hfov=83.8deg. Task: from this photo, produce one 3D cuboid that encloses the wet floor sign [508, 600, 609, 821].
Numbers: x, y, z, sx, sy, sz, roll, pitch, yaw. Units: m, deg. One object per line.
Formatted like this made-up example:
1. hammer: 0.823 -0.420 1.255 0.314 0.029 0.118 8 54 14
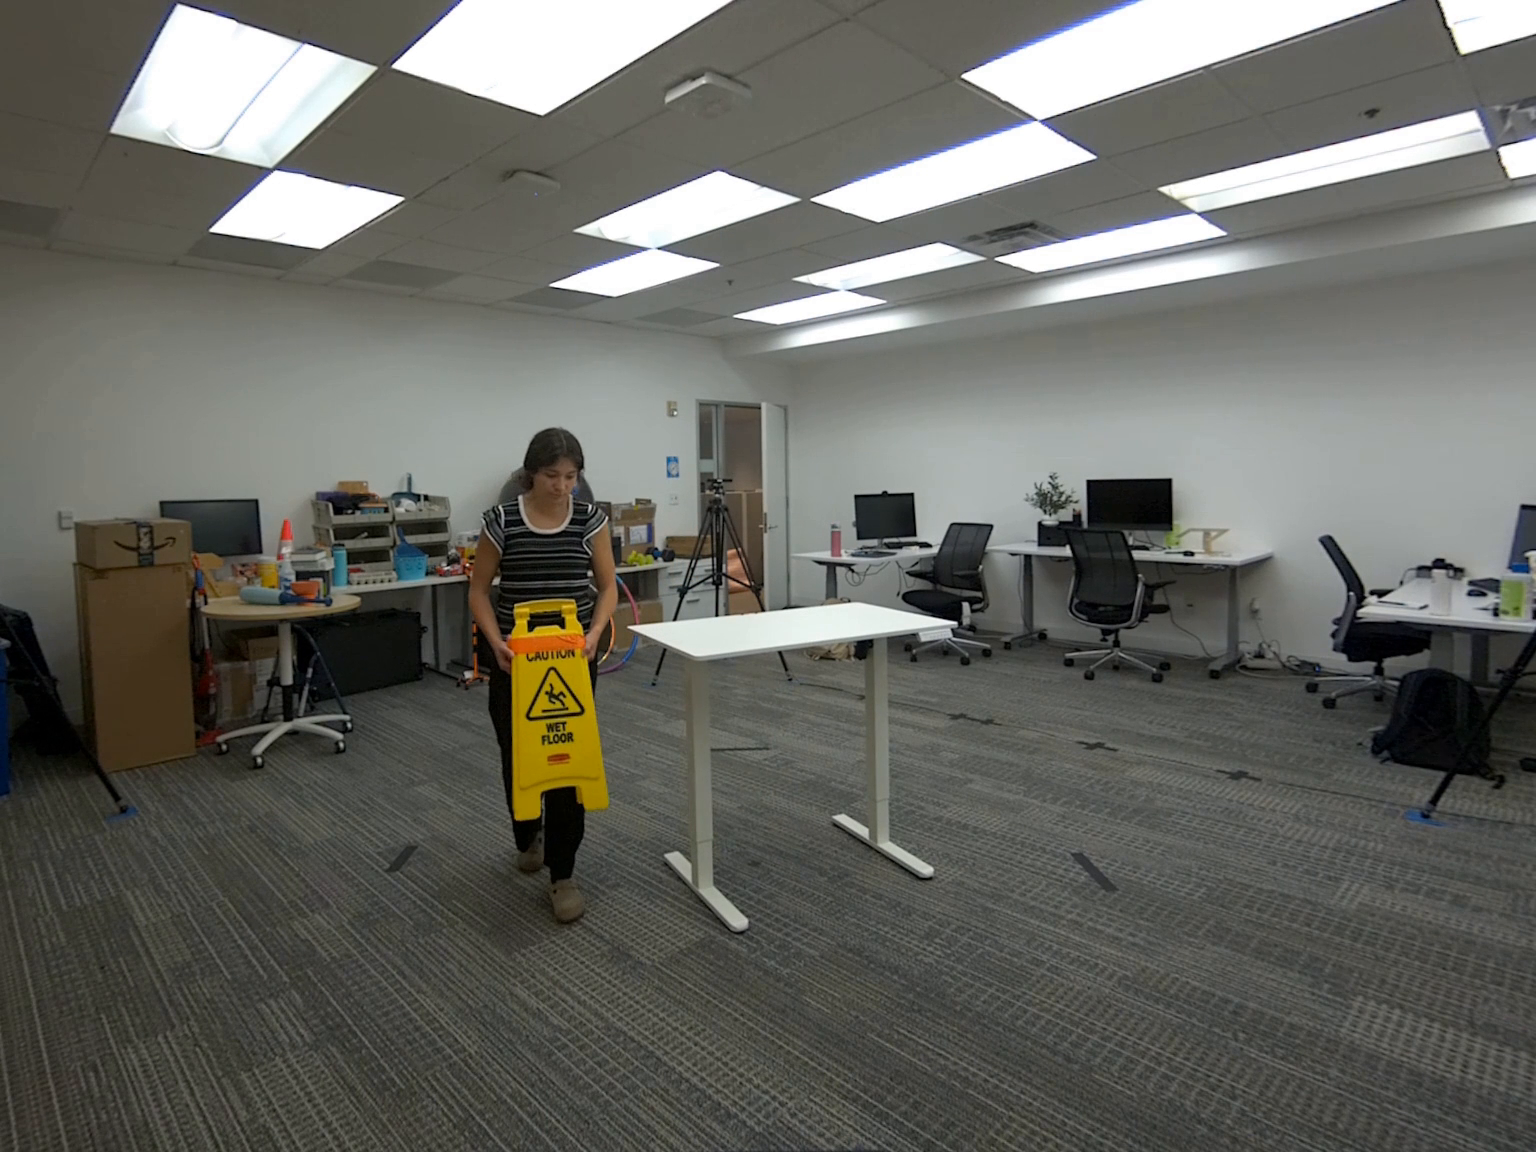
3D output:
1. wet floor sign: -0.685 0.410 2.695 0.278 0.652 0.291 -5 -9 -17
